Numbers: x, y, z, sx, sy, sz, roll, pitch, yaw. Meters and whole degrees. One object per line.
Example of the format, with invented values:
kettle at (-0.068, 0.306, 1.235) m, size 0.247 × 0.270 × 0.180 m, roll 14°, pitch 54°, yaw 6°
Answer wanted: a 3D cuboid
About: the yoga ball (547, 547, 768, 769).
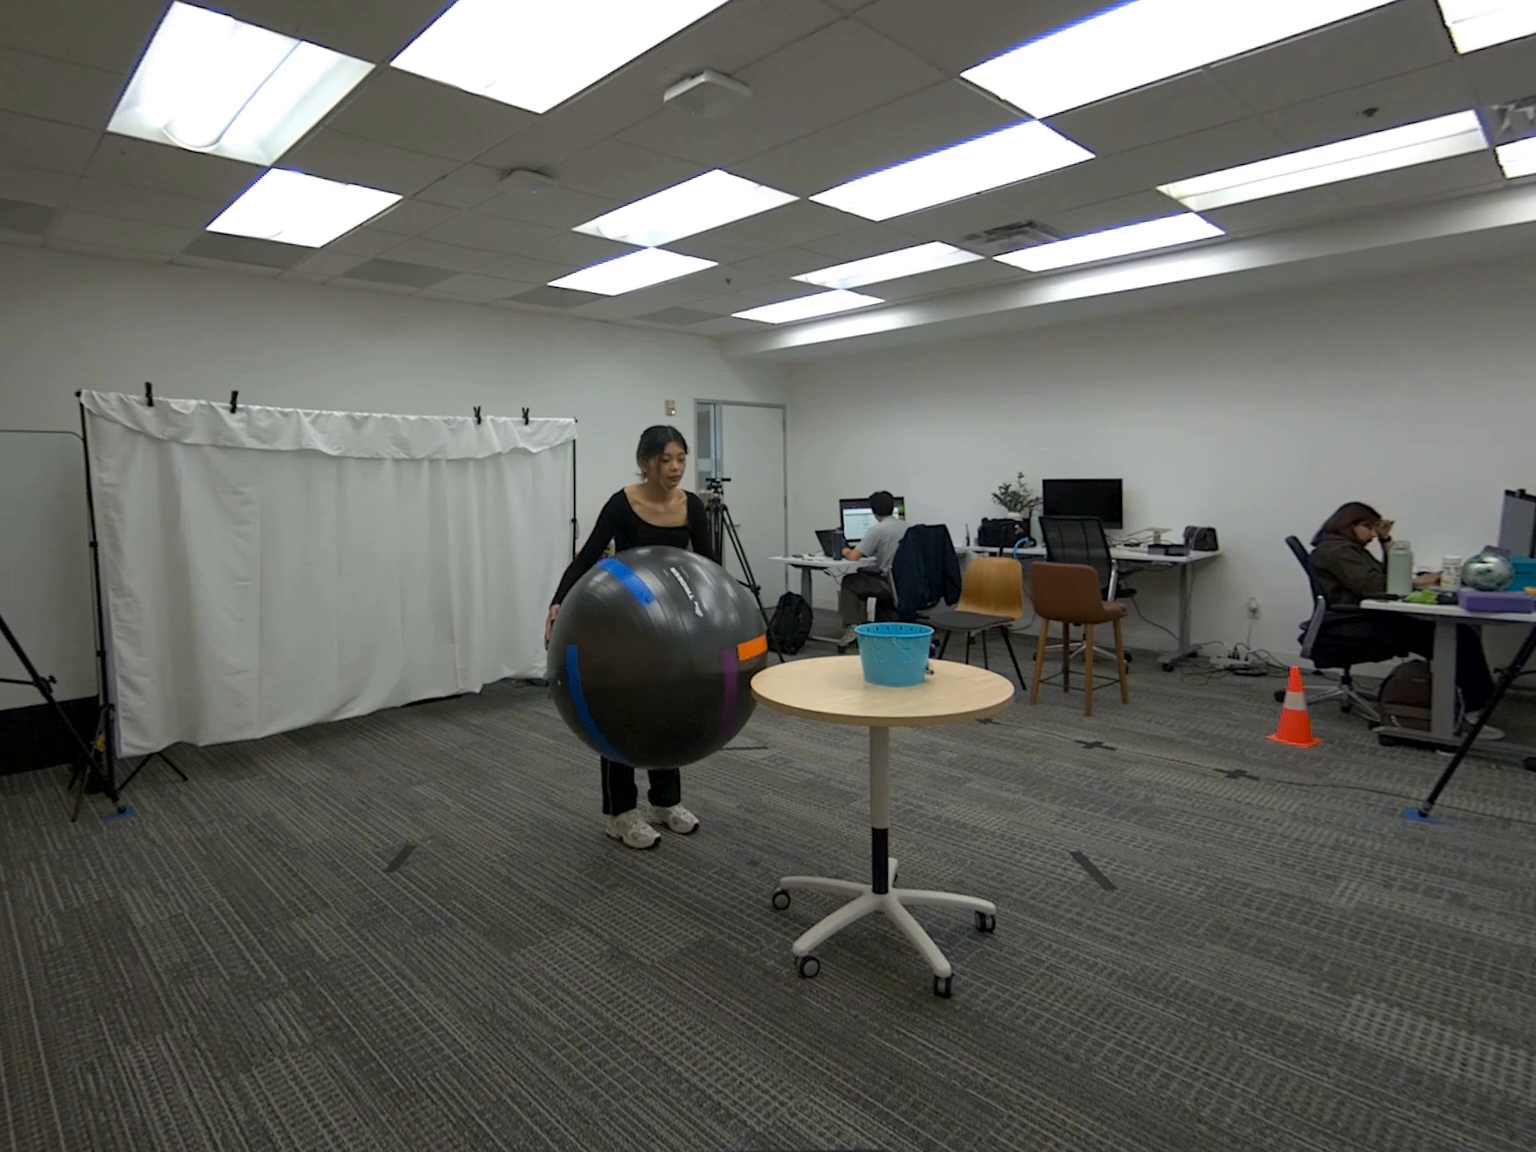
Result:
yoga ball at (-0.379, 0.275, 2.924) m, size 0.757 × 0.755 × 0.762 m, roll -1°, pitch 5°, yaw -2°
